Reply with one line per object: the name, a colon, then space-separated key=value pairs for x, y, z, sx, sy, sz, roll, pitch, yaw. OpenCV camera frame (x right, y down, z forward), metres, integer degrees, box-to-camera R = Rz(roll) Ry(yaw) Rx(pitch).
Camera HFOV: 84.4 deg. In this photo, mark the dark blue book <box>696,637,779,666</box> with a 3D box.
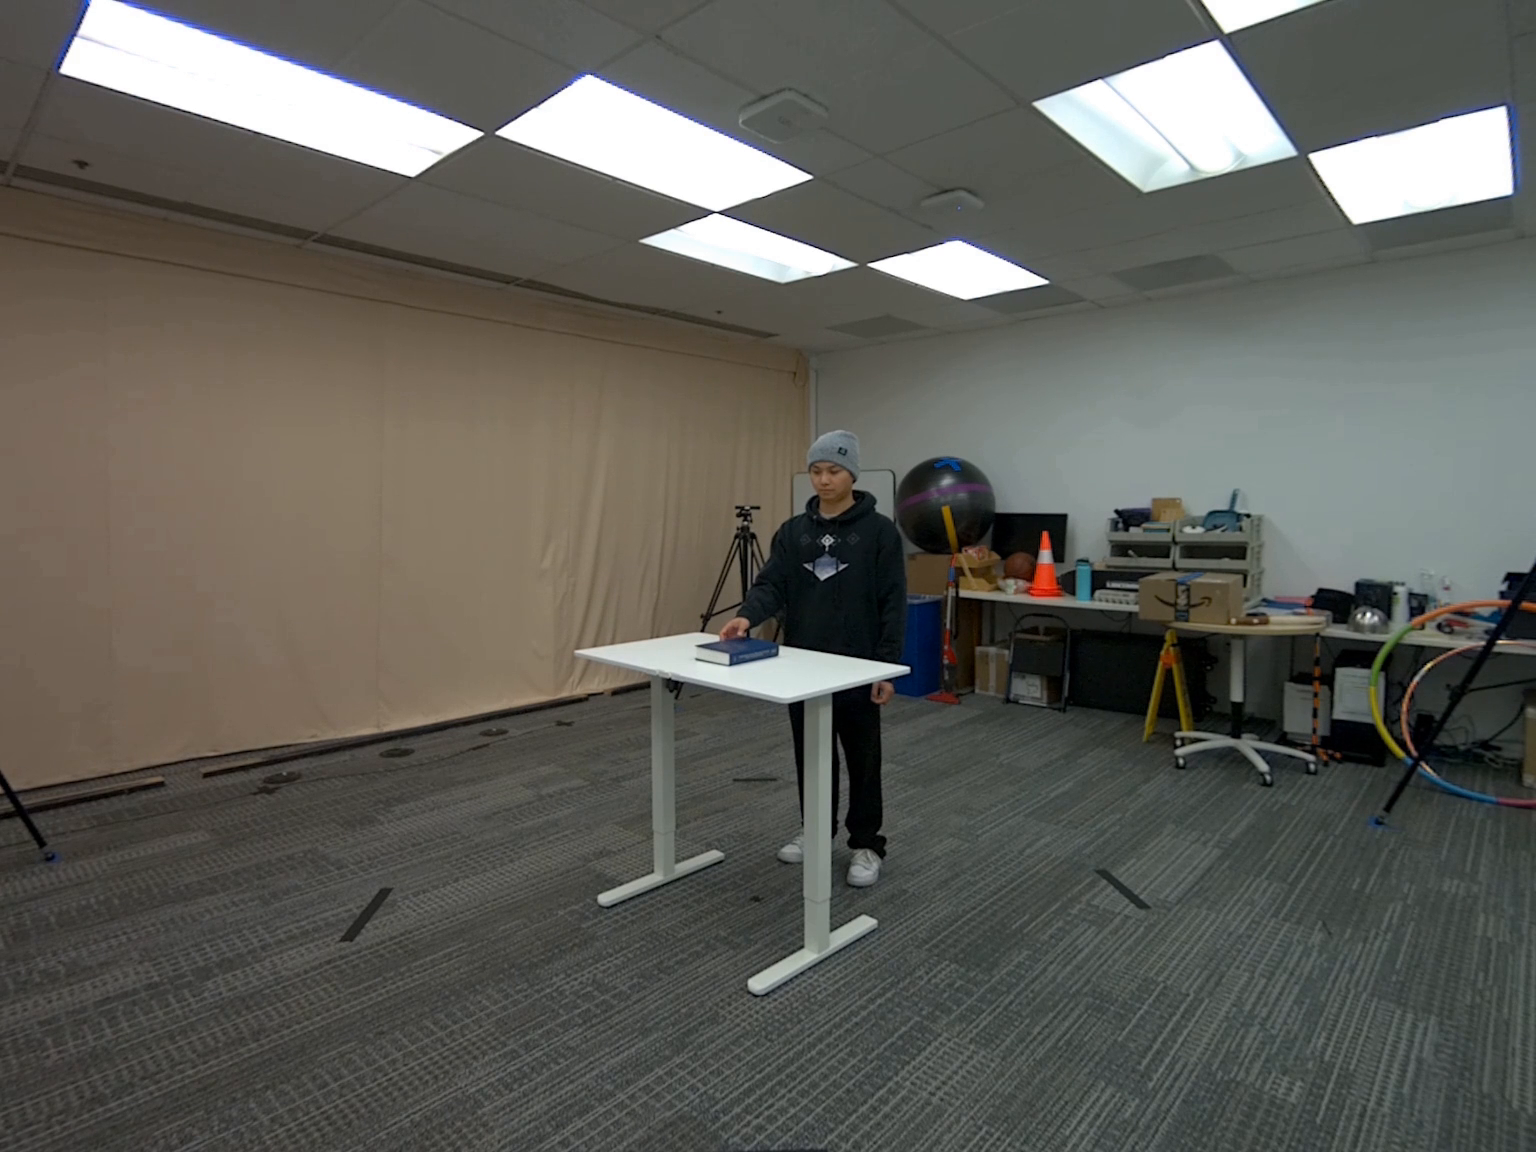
dark blue book: x=-0.097 y=0.257 z=2.814 sx=0.169 sy=0.045 sz=0.238 roll=7 pitch=9 yaw=44
